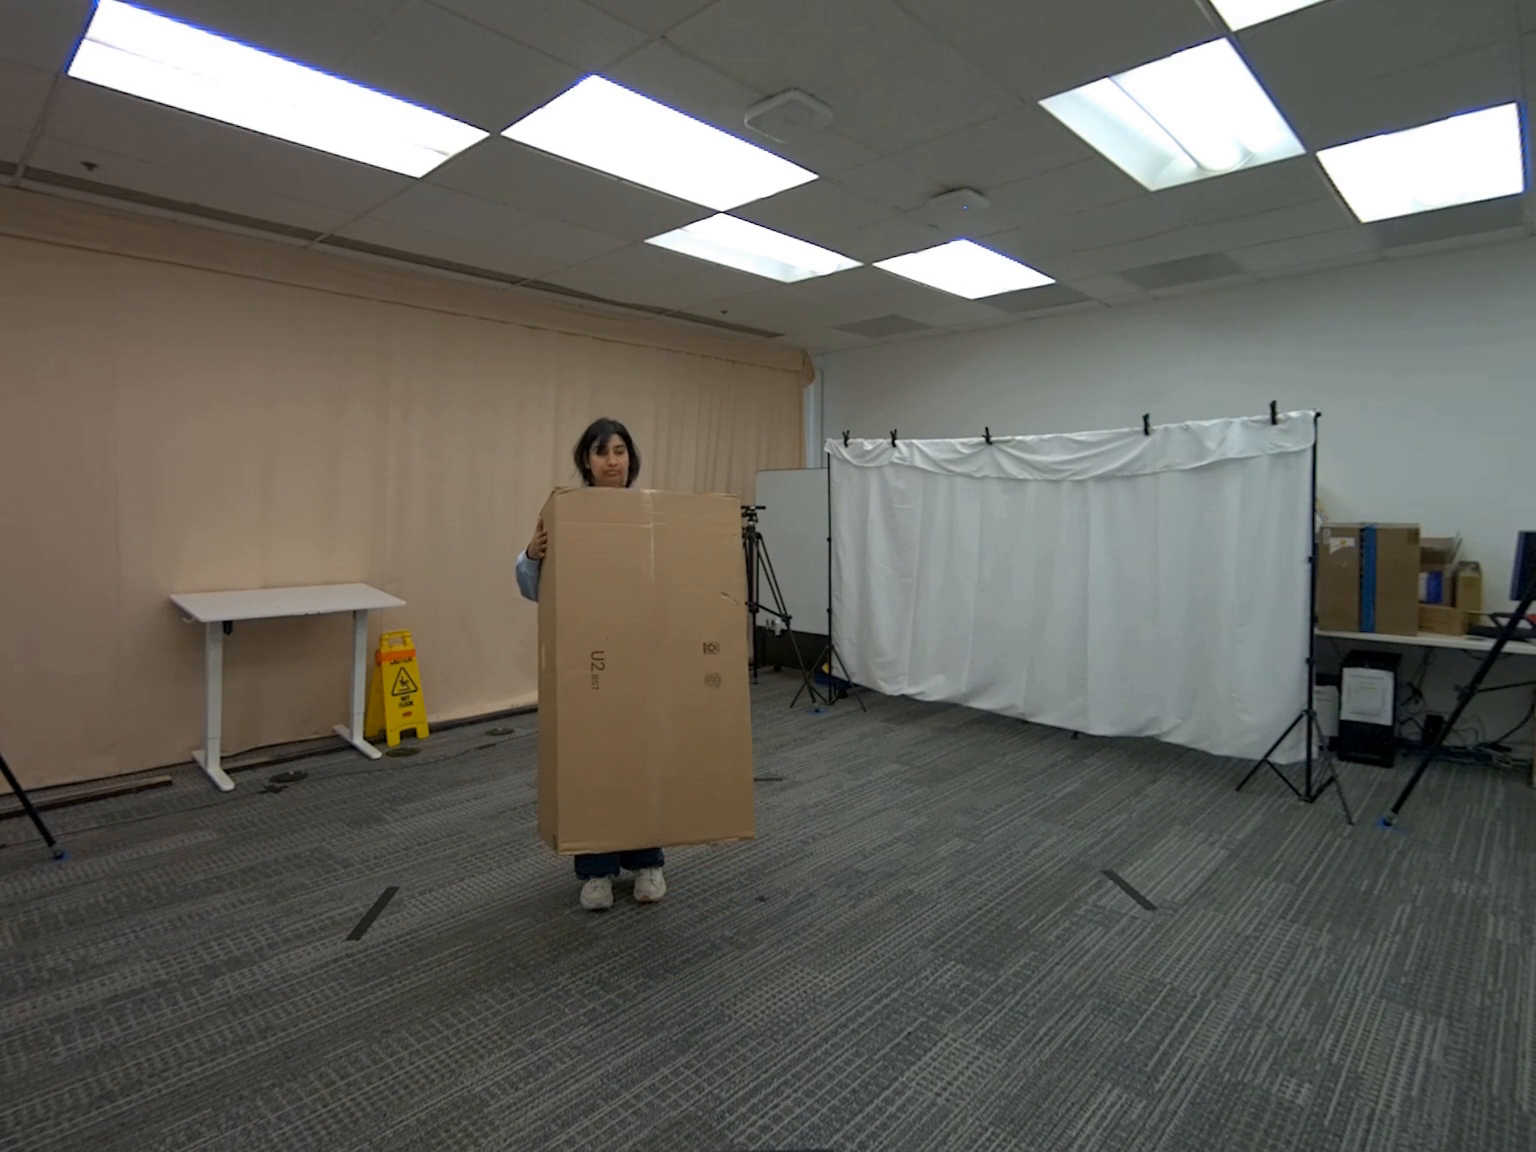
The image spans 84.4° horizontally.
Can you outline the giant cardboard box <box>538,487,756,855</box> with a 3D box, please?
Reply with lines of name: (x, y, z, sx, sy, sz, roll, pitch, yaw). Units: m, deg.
giant cardboard box: (-0.396, 0.287, 2.621, 0.573, 1.034, 0.453, 1, -10, -19)
